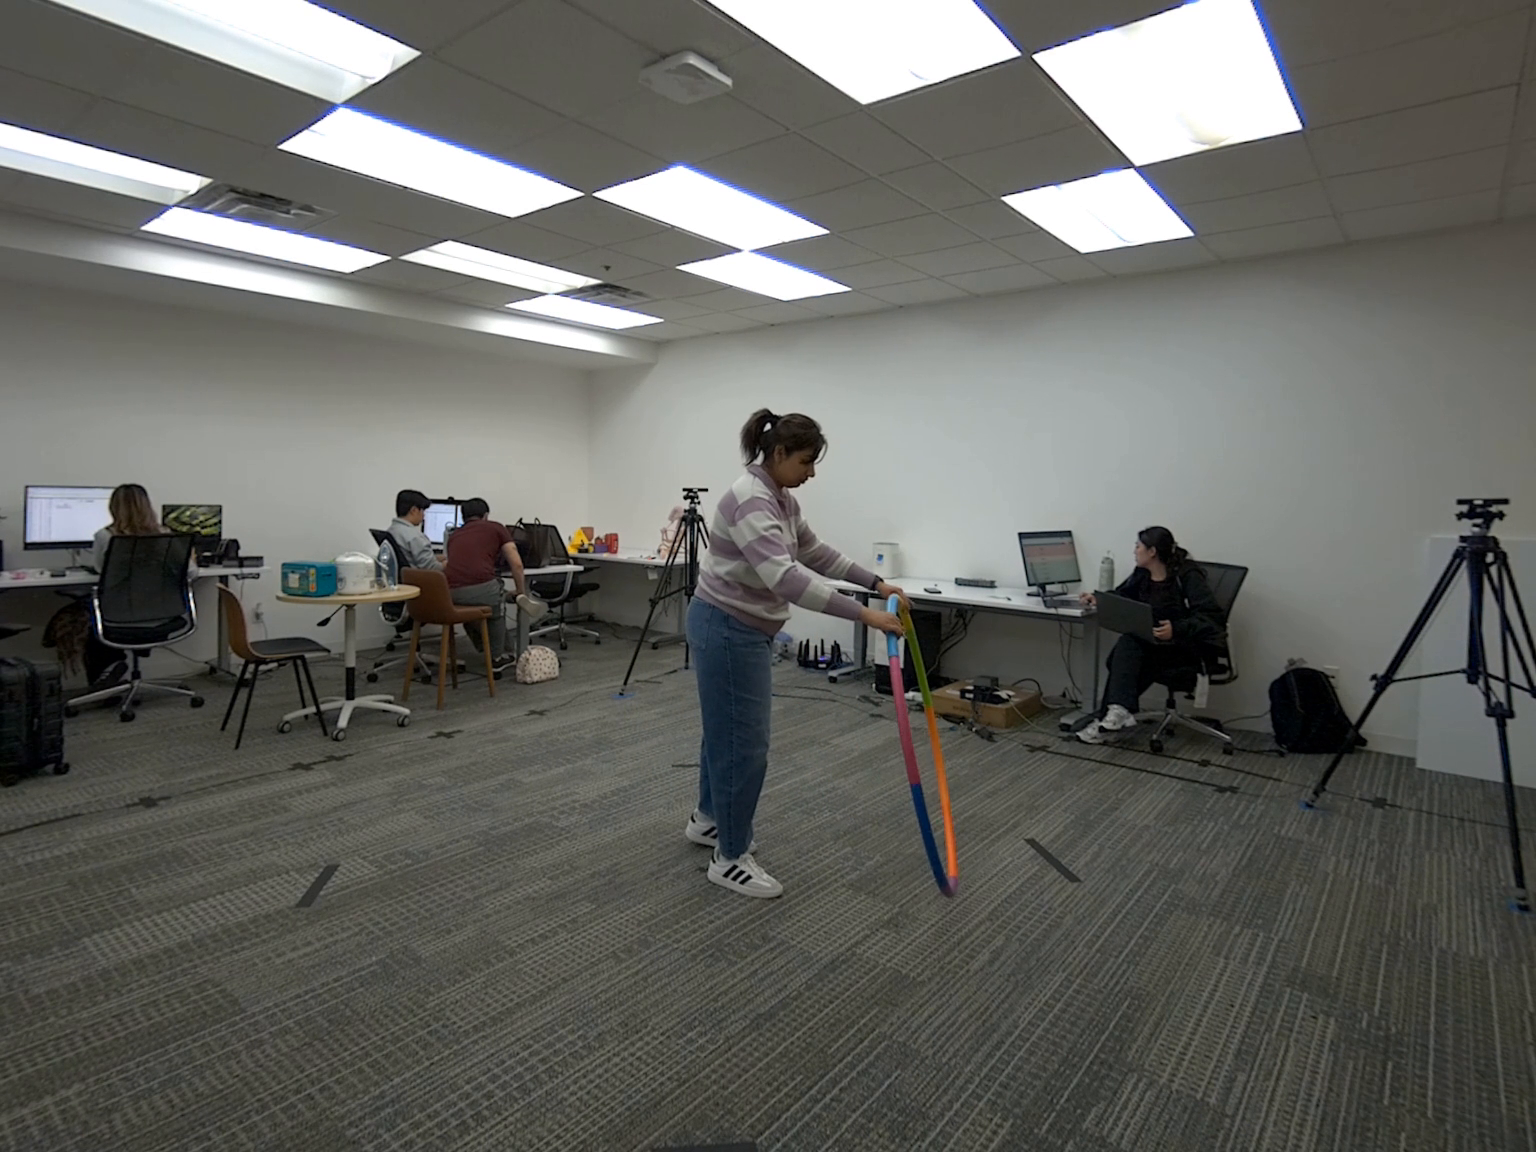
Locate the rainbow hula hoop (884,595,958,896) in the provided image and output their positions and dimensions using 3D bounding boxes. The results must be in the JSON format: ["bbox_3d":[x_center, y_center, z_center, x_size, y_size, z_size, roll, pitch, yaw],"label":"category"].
[{"bbox_3d":[0.504,0.552,2.864,0.036,0.979,0.966,-11,1,14],"label":"rainbow hula hoop"}]
